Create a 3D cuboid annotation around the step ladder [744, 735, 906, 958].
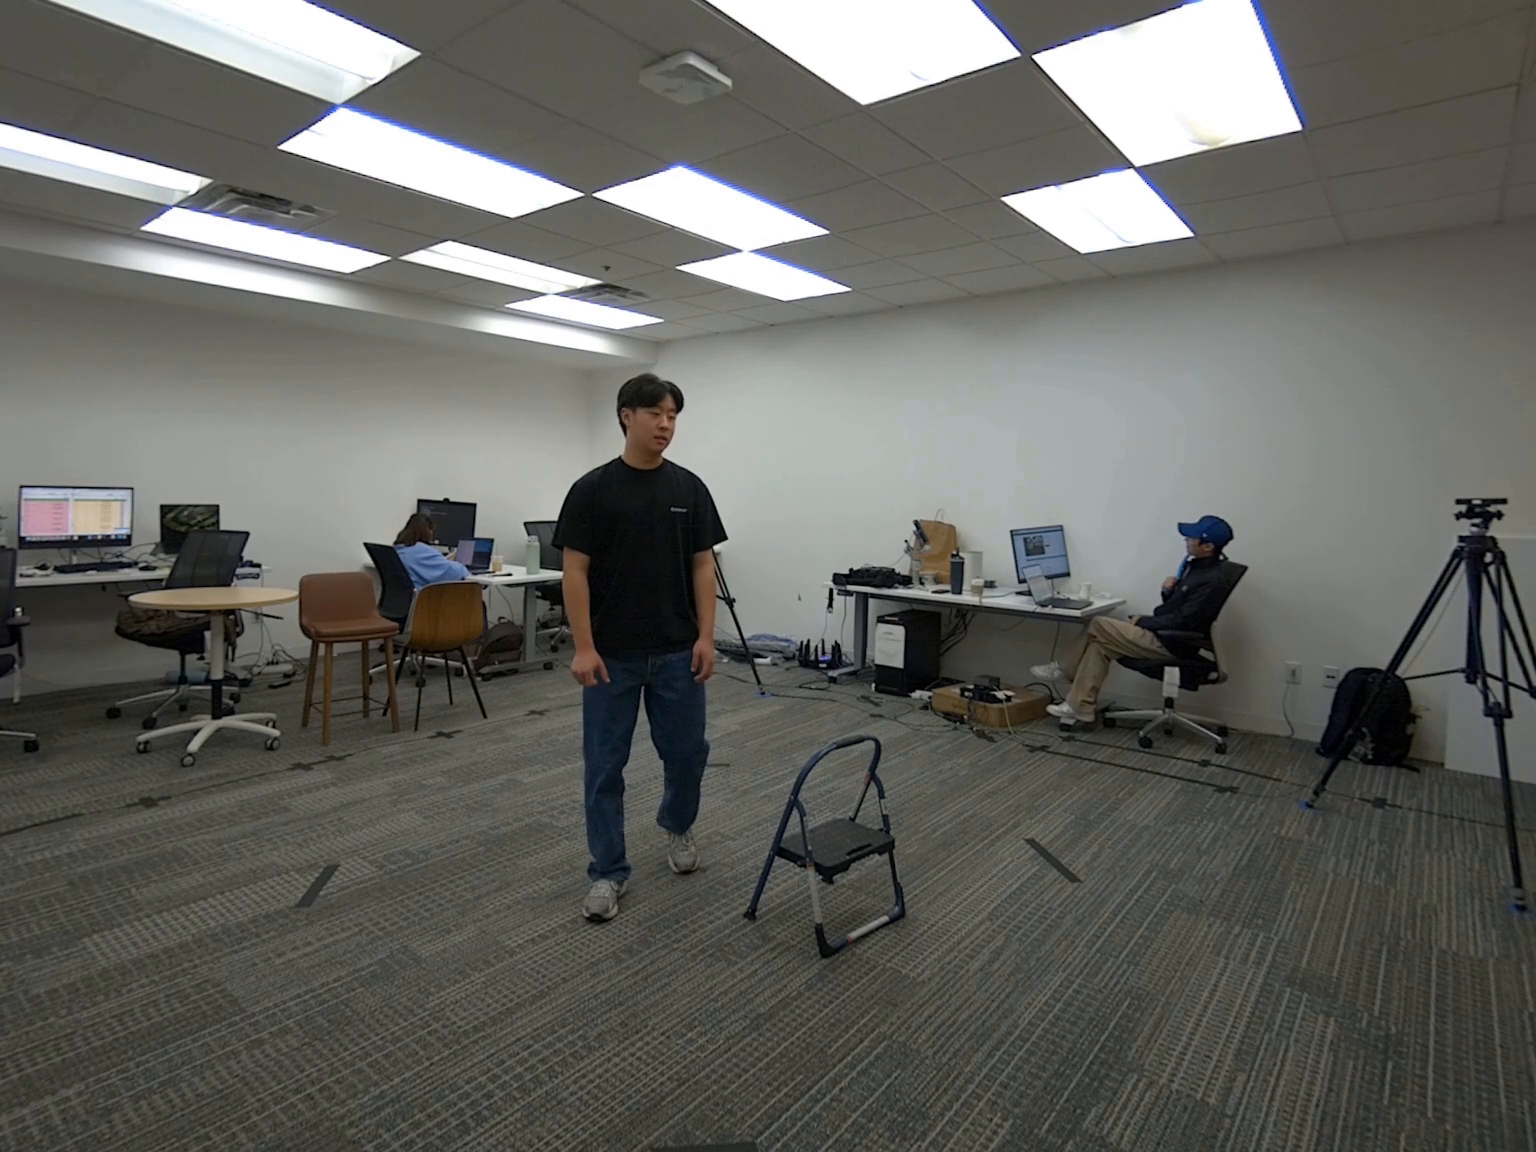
[{"bbox_3d":[0.193,0.808,2.770,0.417,0.604,0.361,-2,5,-45],"label":"step ladder"}]
